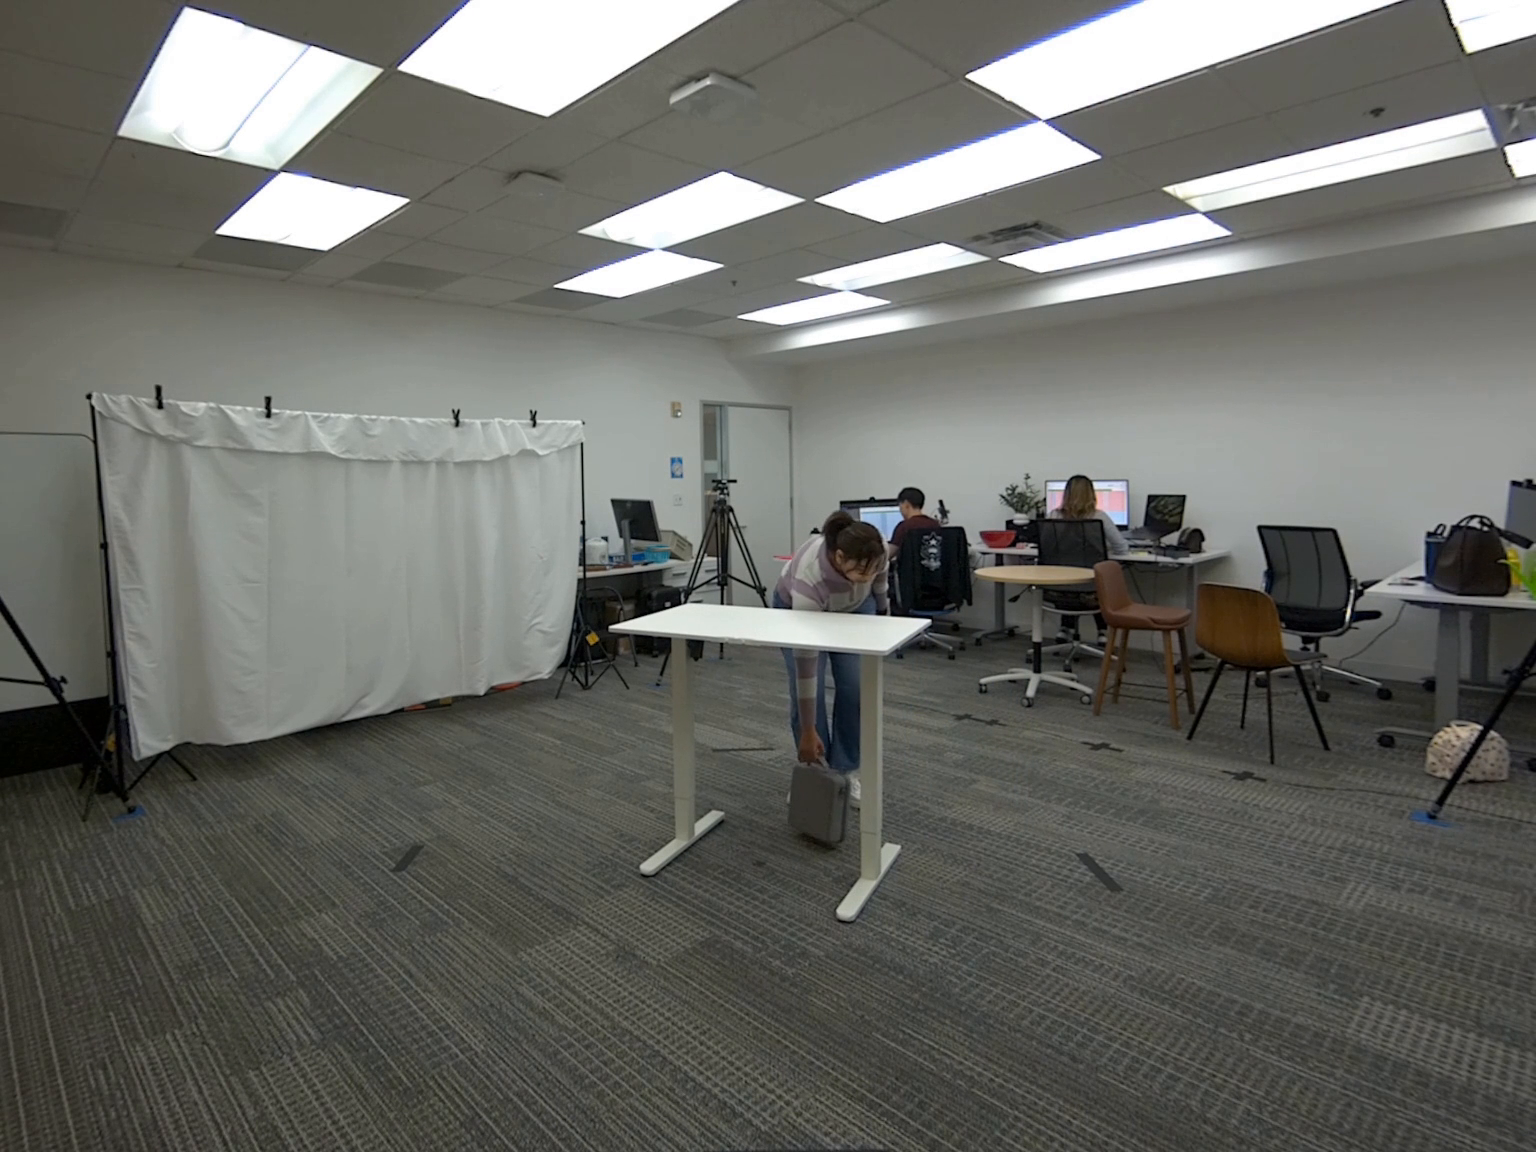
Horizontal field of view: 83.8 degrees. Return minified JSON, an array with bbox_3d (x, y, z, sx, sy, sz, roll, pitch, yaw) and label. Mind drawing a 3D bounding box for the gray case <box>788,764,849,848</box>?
[{"bbox_3d":[0.197,0.860,3.299,0.101,0.261,0.264,5,0,-36],"label":"gray case"}]
